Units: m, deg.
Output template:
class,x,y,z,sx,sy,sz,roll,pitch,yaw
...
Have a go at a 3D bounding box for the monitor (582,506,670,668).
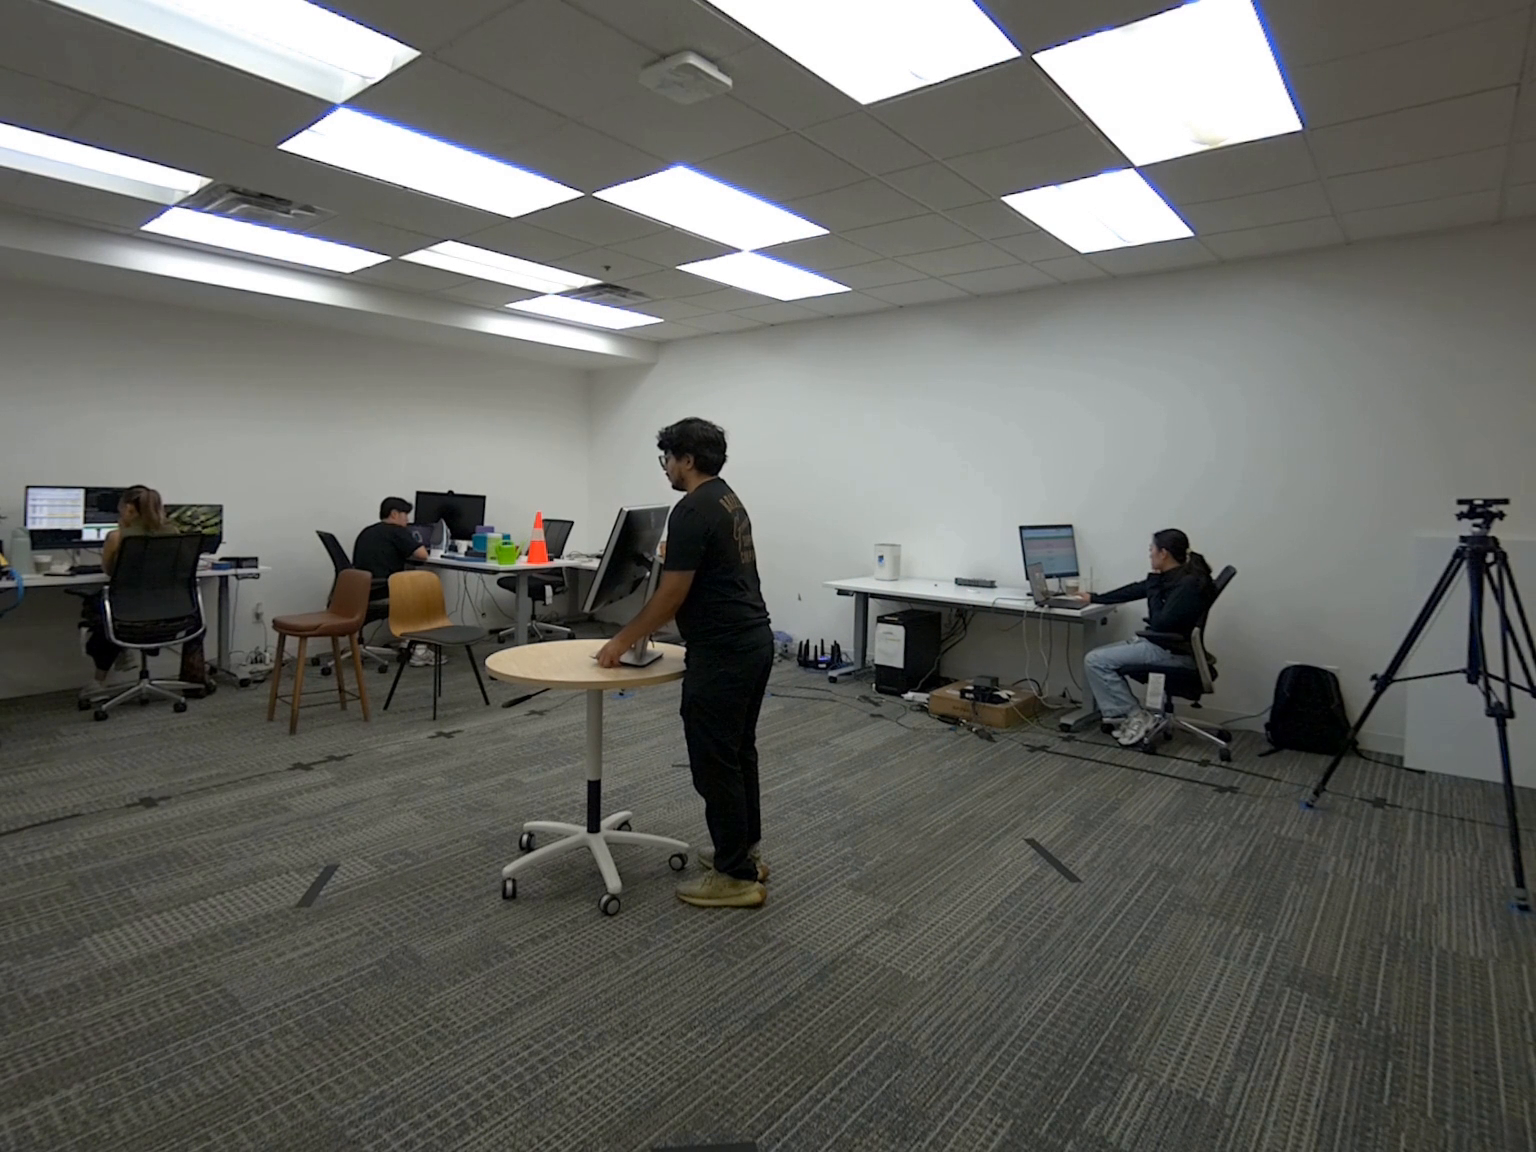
class,x,y,z,sx,sy,sz,roll,pitch,yaw
monitor,-0.453,0.026,3.006,0.213,0.552,0.561,15,6,7
